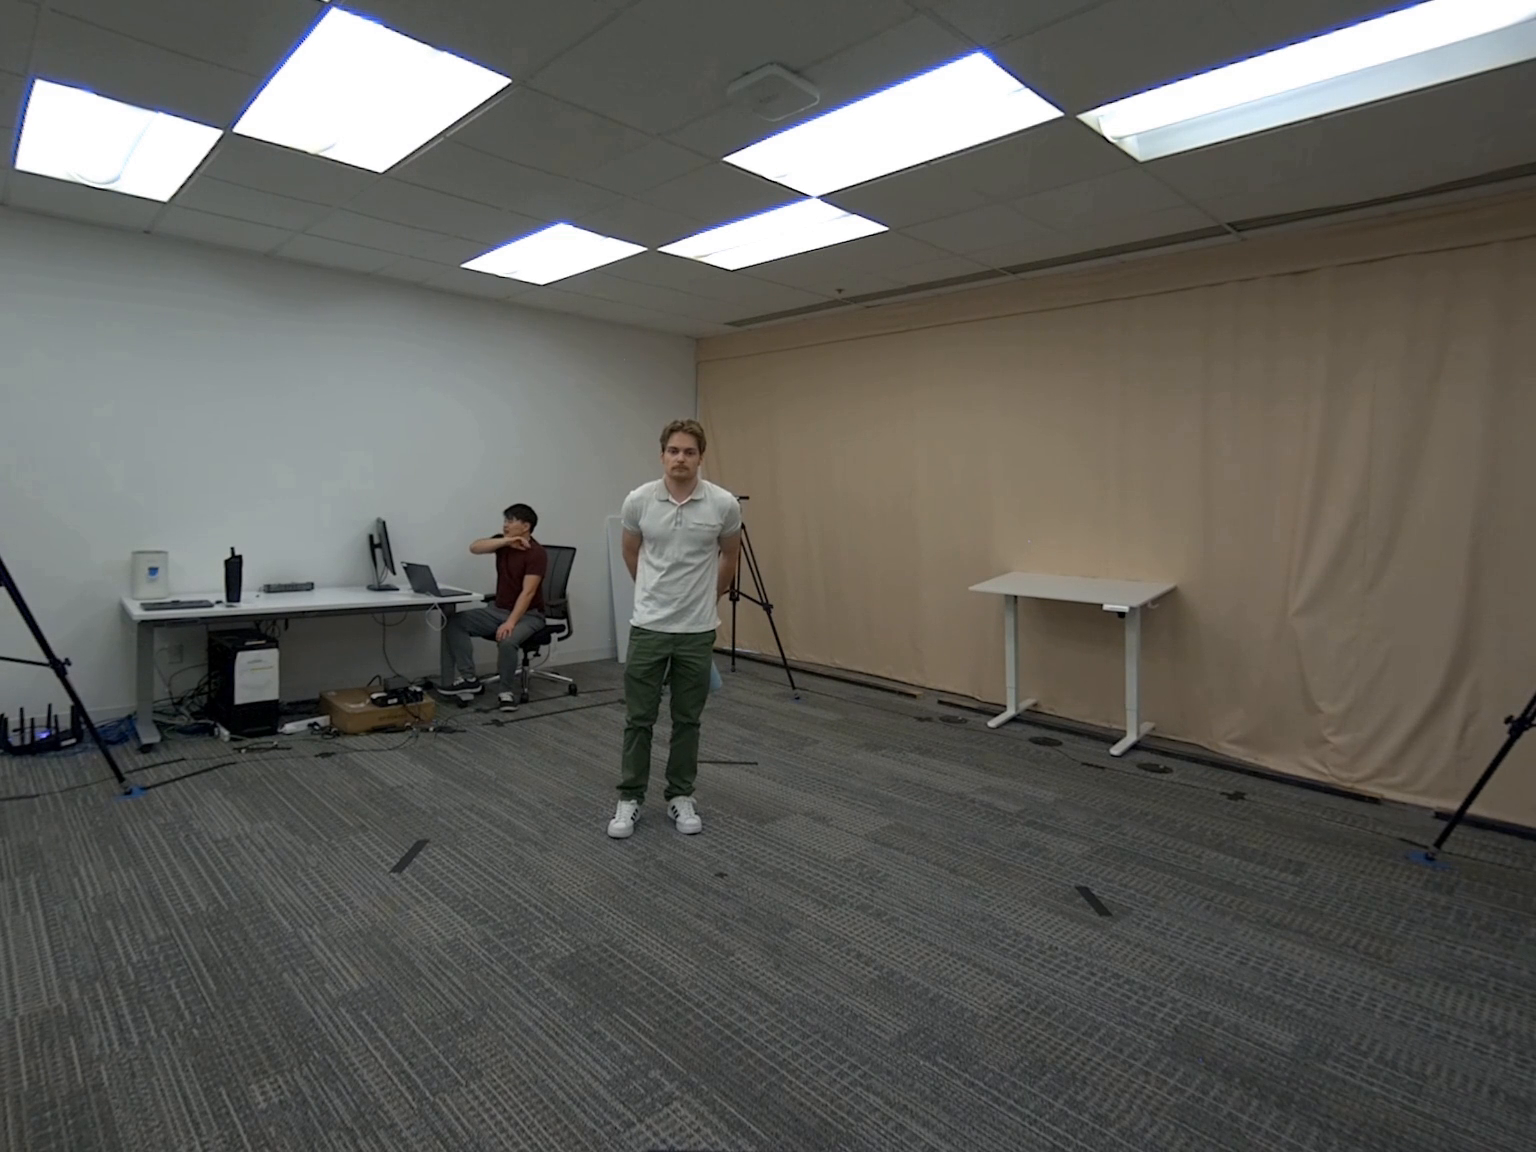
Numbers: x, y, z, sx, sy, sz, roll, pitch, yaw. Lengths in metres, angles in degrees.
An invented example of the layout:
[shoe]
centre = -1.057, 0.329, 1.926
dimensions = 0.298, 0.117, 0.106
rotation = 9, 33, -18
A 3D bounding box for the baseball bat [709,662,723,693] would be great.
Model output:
[baseball bat]
centre = -0.348, 0.280, 3.803
dimensions = 0.089, 0.540, 0.089
rotation = -21, 5, 1
